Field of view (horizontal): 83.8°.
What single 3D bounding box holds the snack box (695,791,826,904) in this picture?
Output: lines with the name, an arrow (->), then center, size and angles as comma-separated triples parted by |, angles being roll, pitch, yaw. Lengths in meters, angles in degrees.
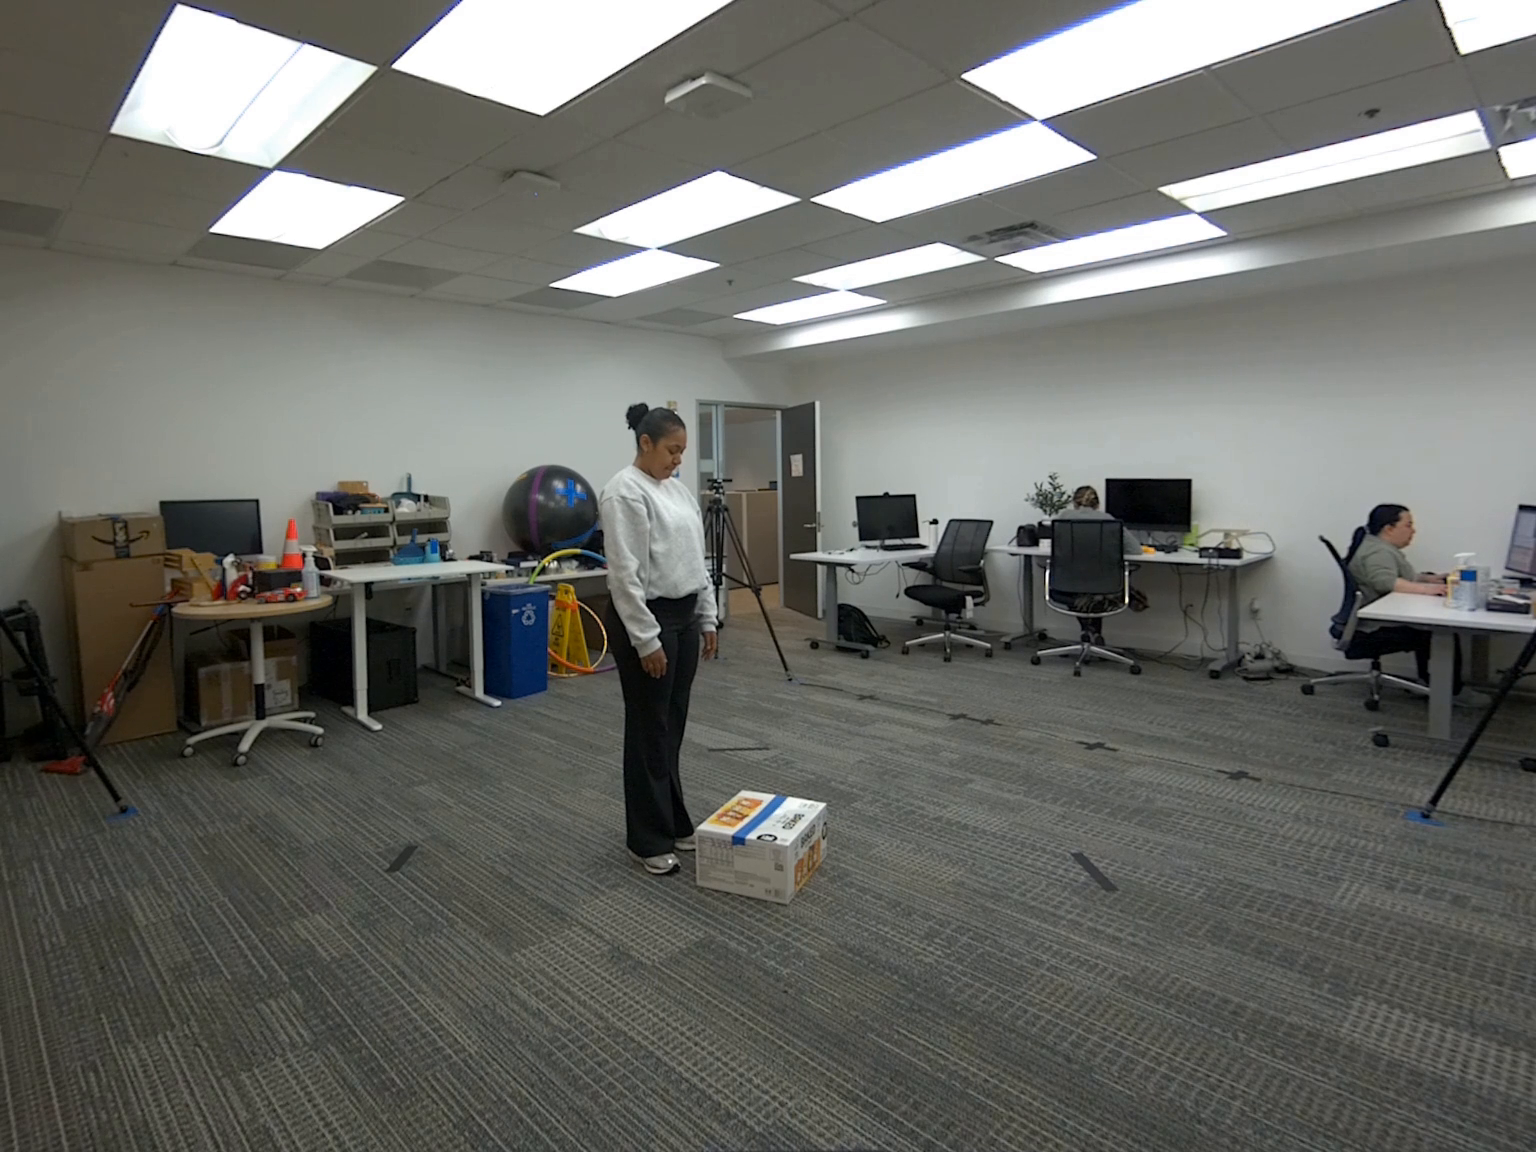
snack box -> -0.011, 0.952, 3.035 | 0.348, 0.205, 0.398 | 1, 6, 24
